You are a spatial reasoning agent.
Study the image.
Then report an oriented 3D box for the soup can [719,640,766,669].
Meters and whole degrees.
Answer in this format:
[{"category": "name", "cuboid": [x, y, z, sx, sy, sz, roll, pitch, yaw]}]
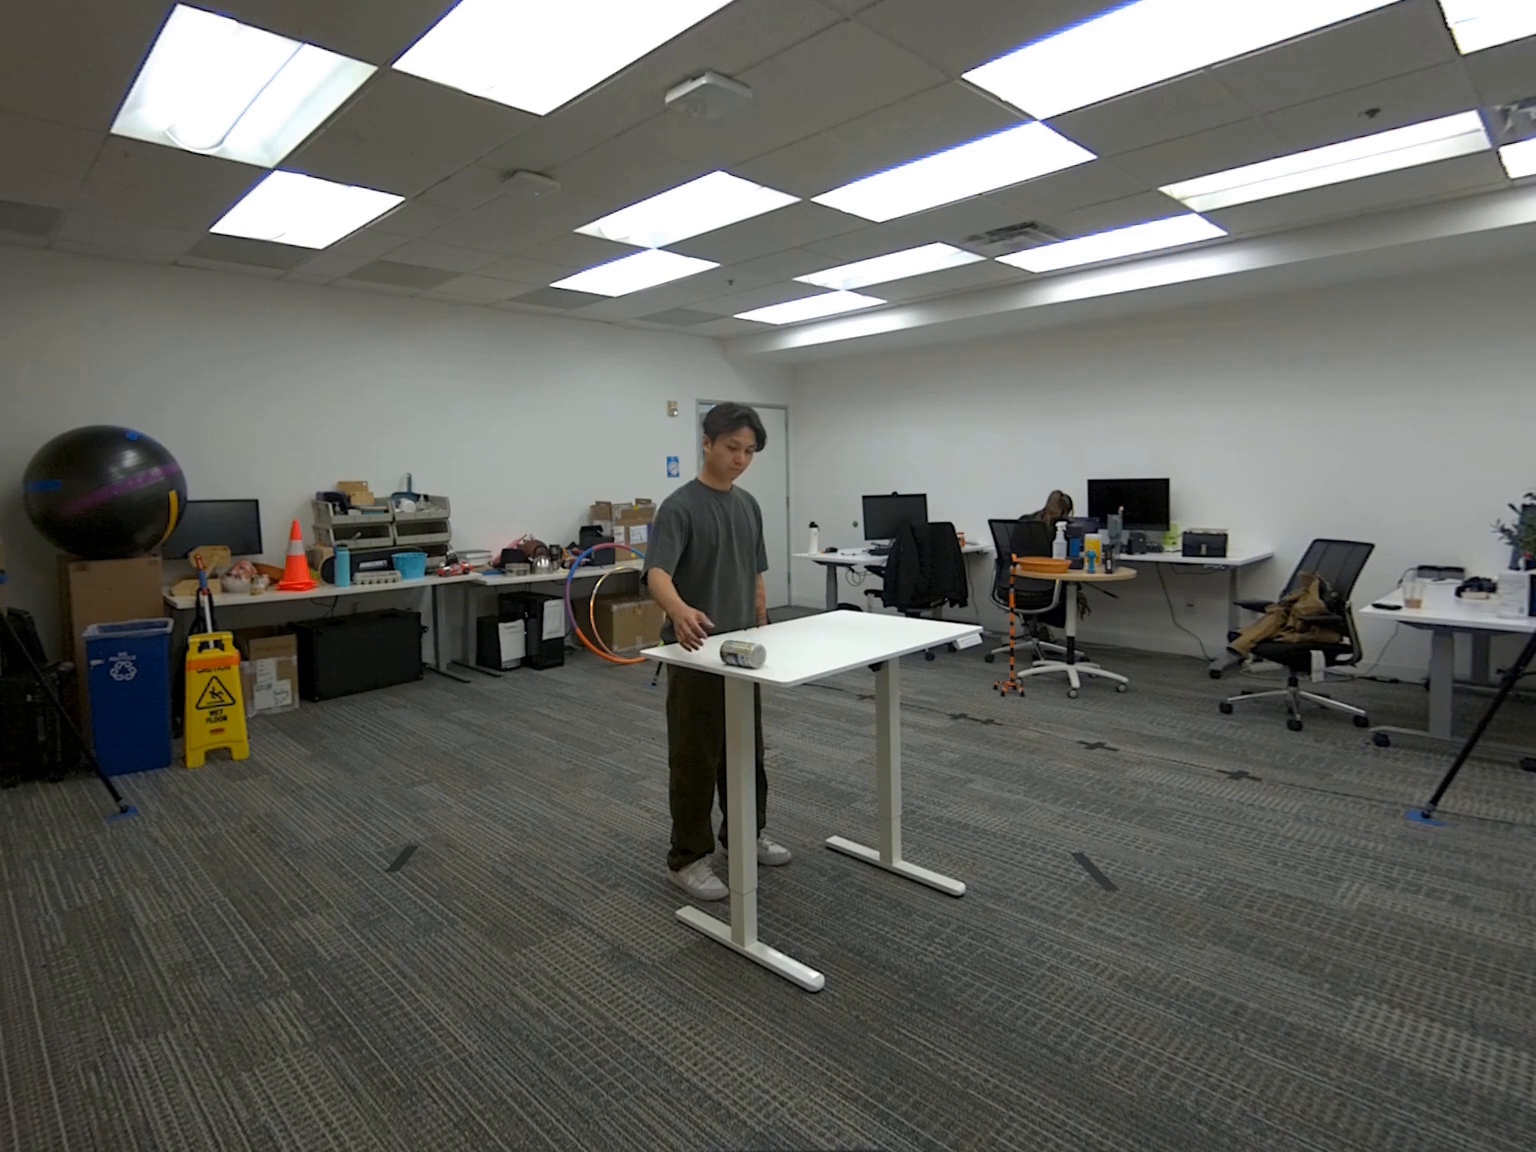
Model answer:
[{"category": "soup can", "cuboid": [-0.069, 0.217, 2.381, 0.125, 0.067, 0.065, 2, 6, 32]}]
